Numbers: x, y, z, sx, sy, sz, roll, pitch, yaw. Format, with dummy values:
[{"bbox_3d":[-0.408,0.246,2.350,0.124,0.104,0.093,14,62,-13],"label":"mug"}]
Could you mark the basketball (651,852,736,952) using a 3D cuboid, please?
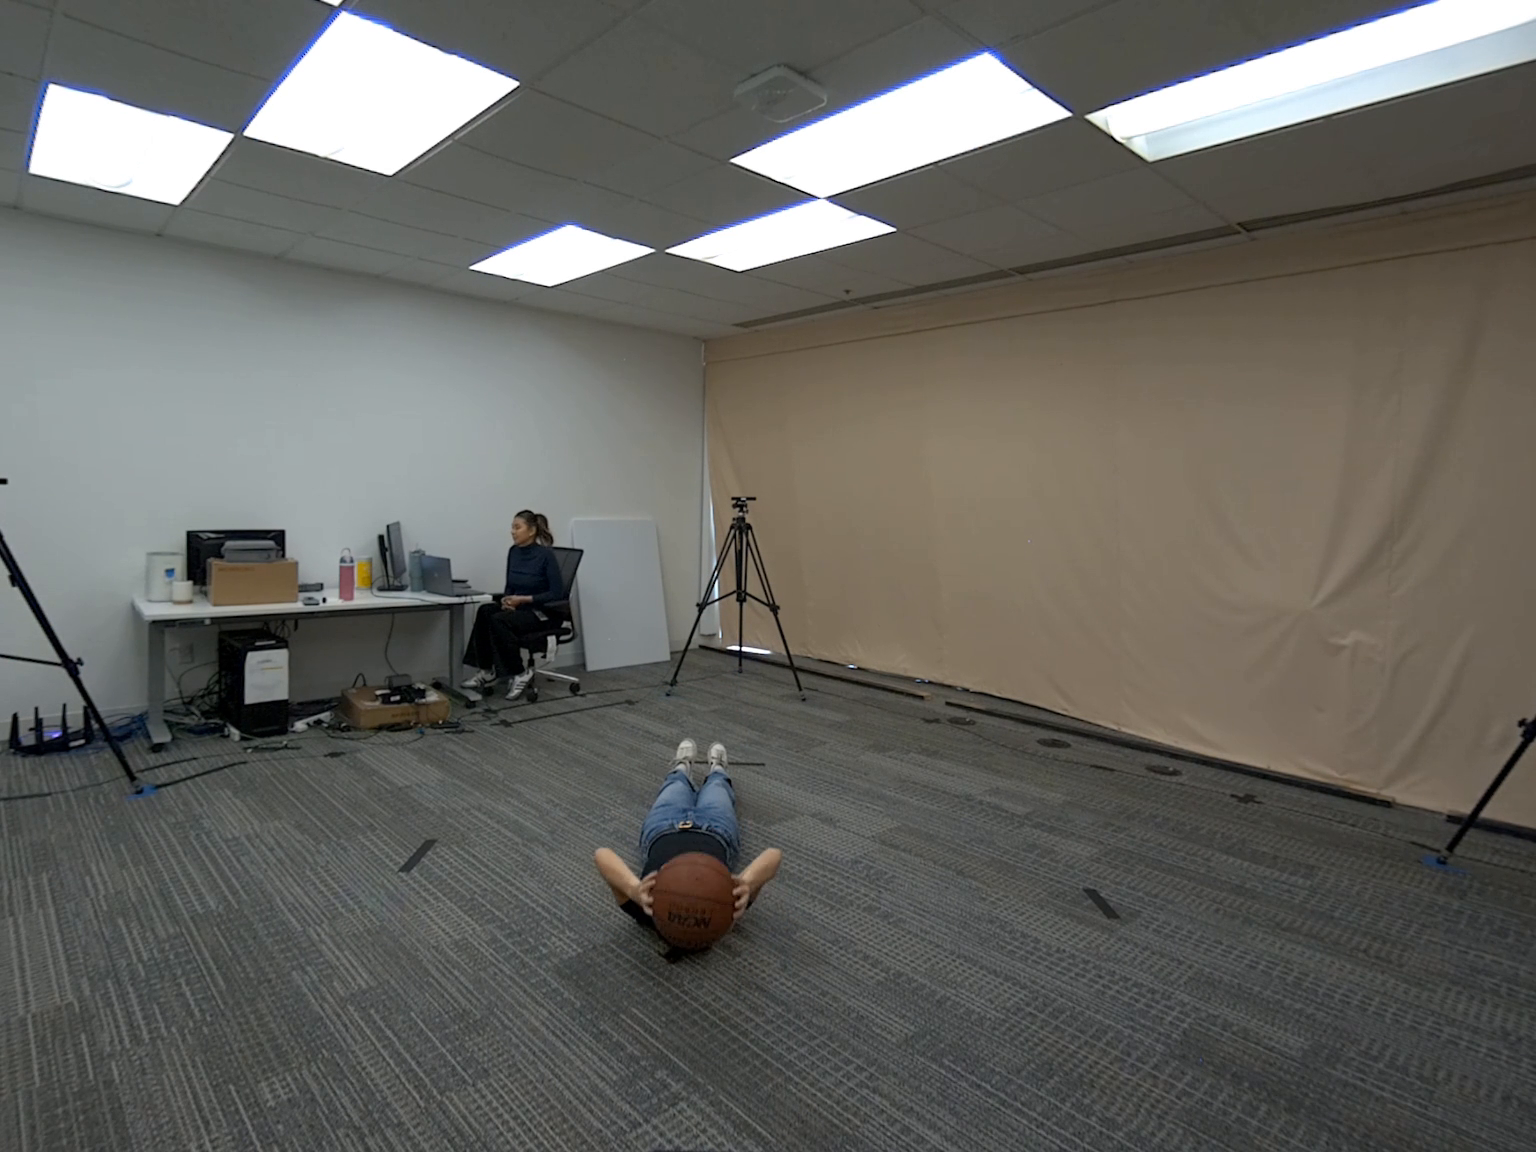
[{"bbox_3d":[-0.207,0.864,2.277,0.236,0.235,0.237,1,4,-1],"label":"basketball"}]
